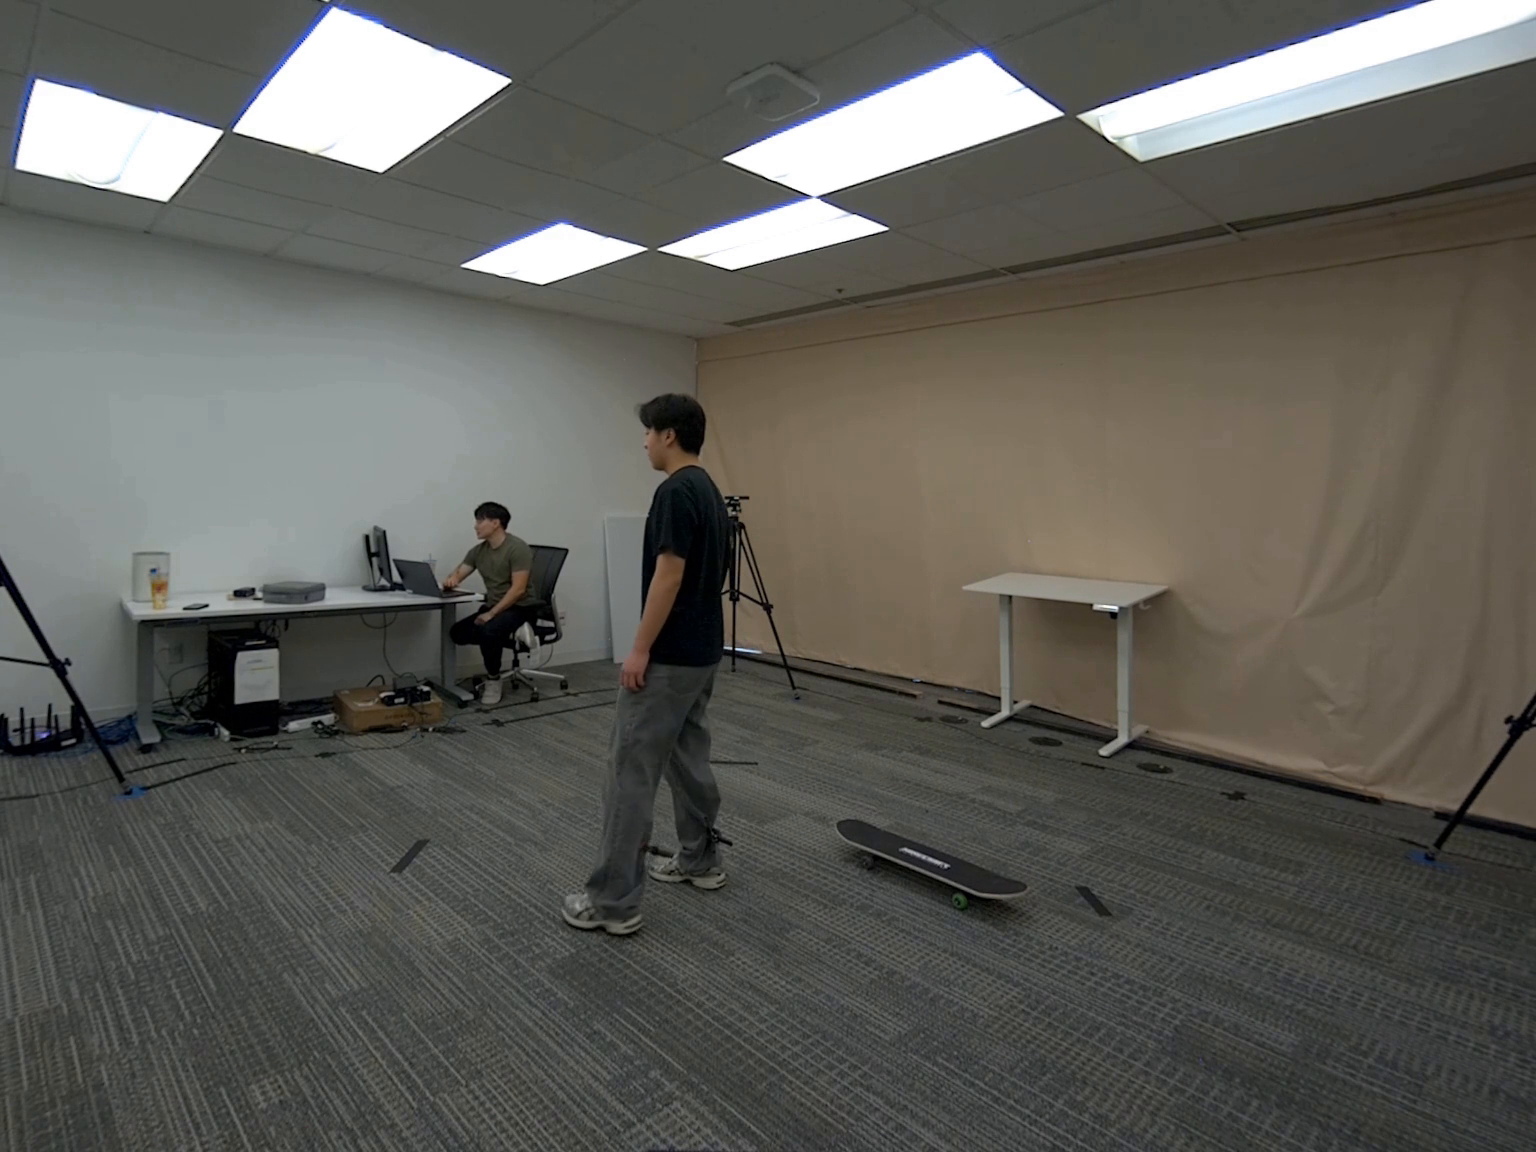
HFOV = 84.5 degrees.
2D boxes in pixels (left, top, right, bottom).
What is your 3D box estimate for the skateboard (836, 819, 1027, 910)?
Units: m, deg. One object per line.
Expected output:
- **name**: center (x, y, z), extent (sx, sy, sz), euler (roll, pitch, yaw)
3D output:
- **skateboard**: center (0.569, 1.071, 3.090), extent (0.189, 0.110, 0.806), euler (-2, 7, -44)
